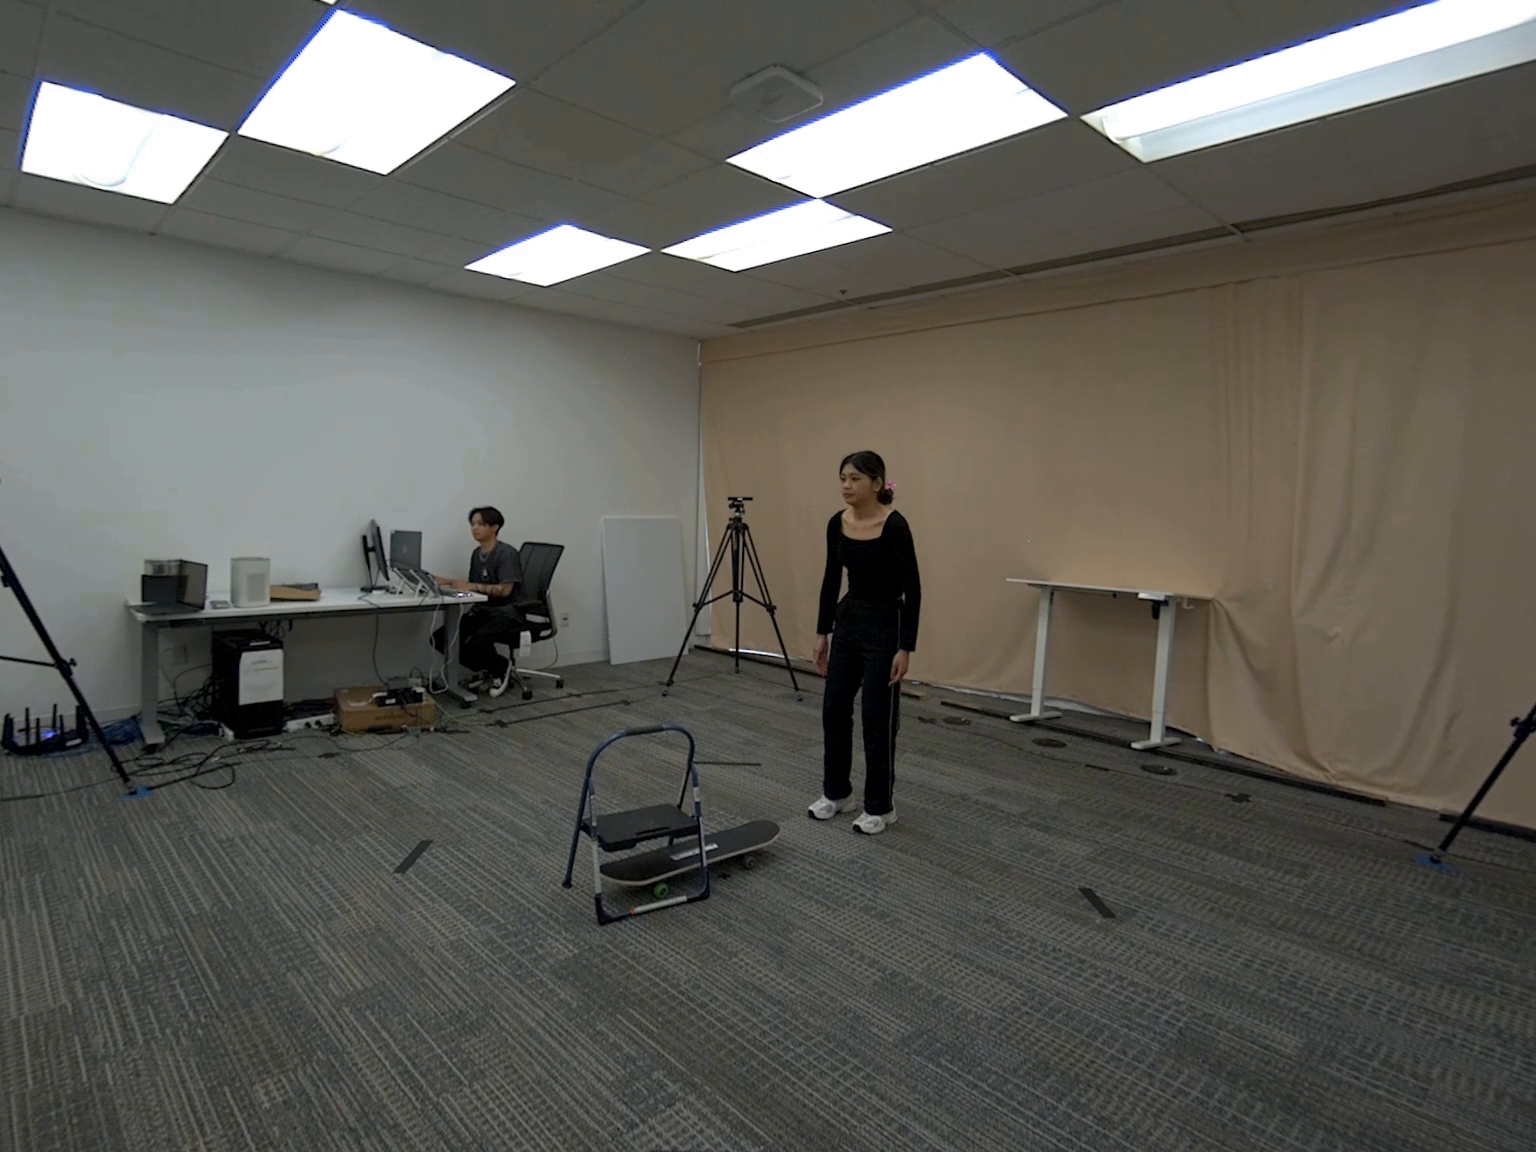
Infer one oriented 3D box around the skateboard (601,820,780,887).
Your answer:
[{"bbox_3d":[-0.277,1.045,3.105,0.768,0.110,0.198,-3,8,-39],"label":"skateboard"}]
